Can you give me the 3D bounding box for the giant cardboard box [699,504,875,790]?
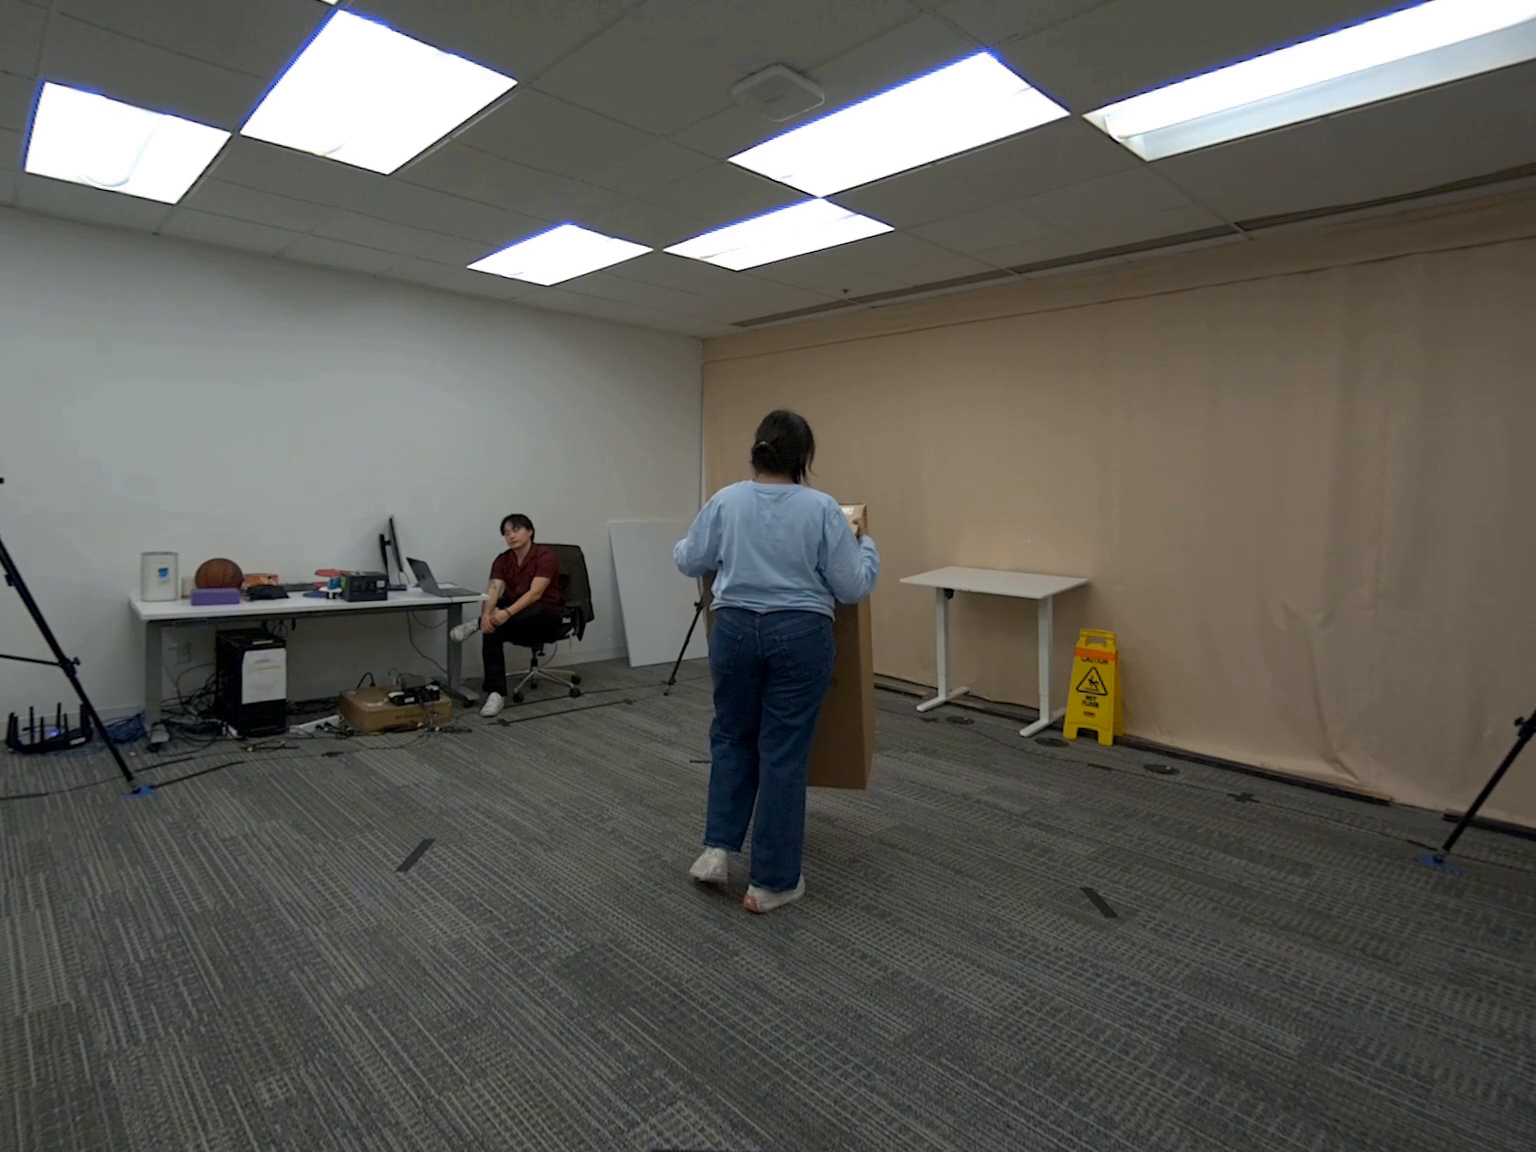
[{"bbox_3d":[0.096,0.275,3.326,0.584,1.012,0.427,0,18,14],"label":"giant cardboard box"}]
